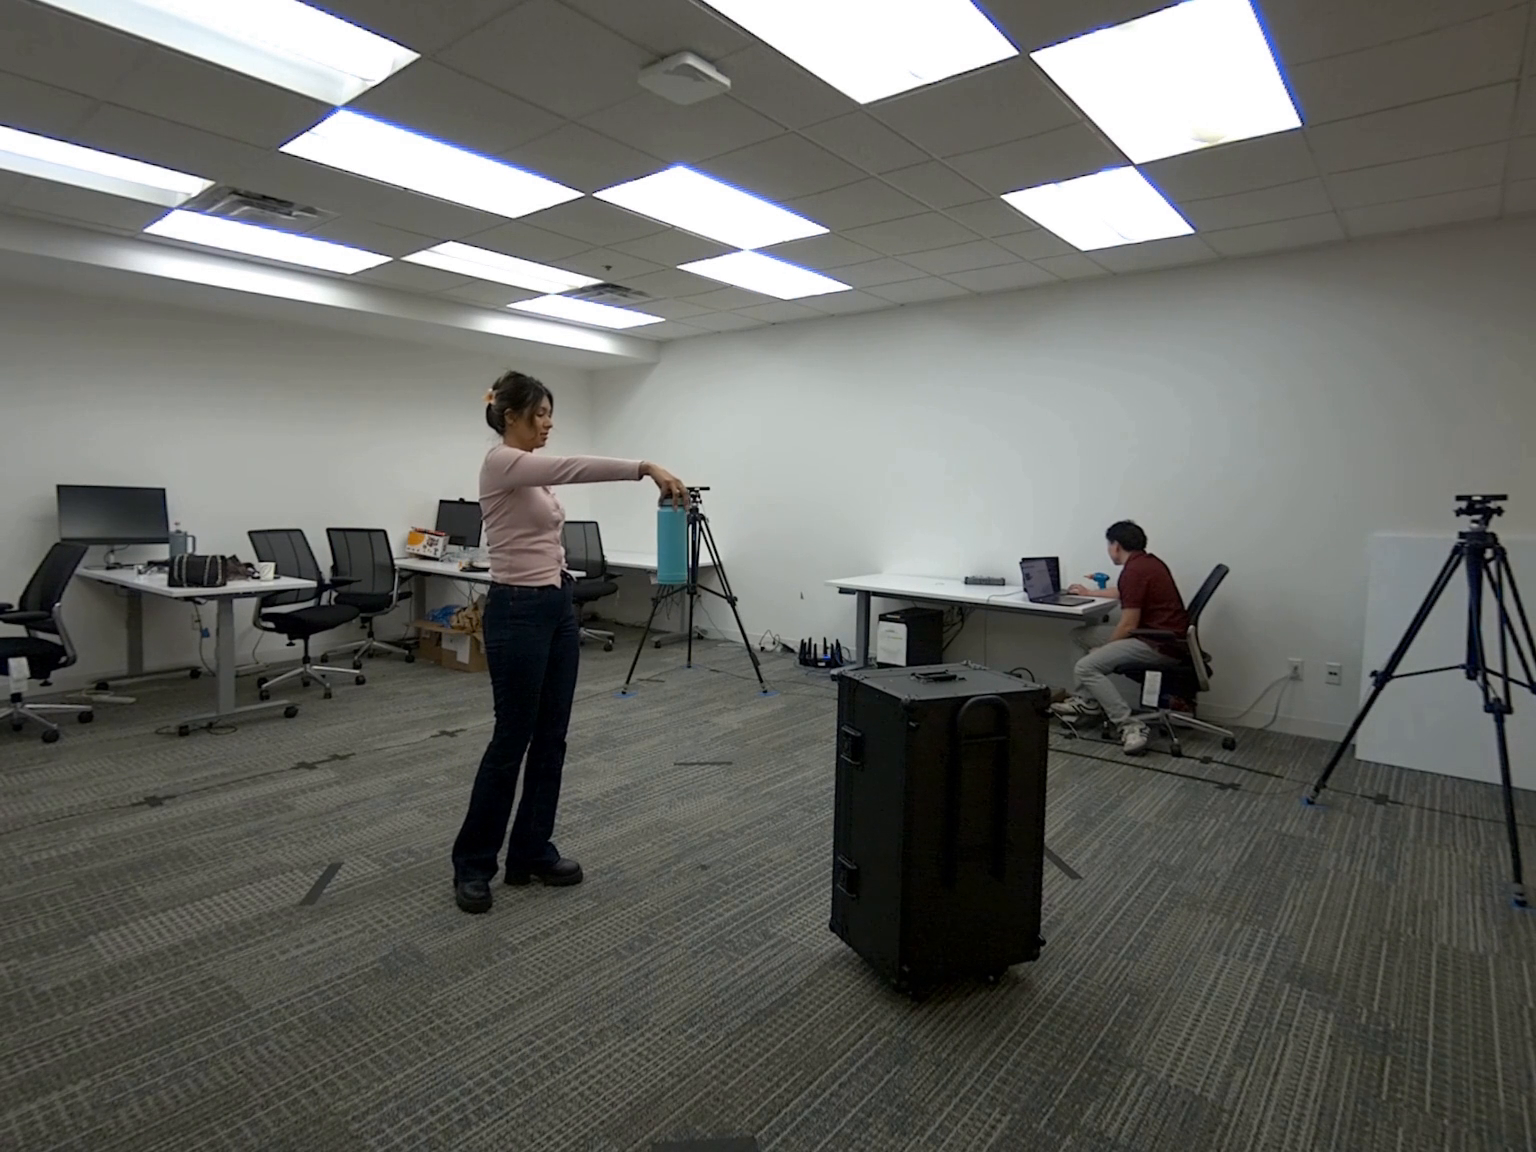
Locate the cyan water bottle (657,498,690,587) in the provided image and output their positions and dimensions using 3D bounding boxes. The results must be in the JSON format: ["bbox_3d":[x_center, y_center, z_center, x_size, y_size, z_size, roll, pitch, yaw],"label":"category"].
[{"bbox_3d":[-0.298,-0.124,2.538,0.092,0.283,0.092,1,2,-2],"label":"cyan water bottle"}]
